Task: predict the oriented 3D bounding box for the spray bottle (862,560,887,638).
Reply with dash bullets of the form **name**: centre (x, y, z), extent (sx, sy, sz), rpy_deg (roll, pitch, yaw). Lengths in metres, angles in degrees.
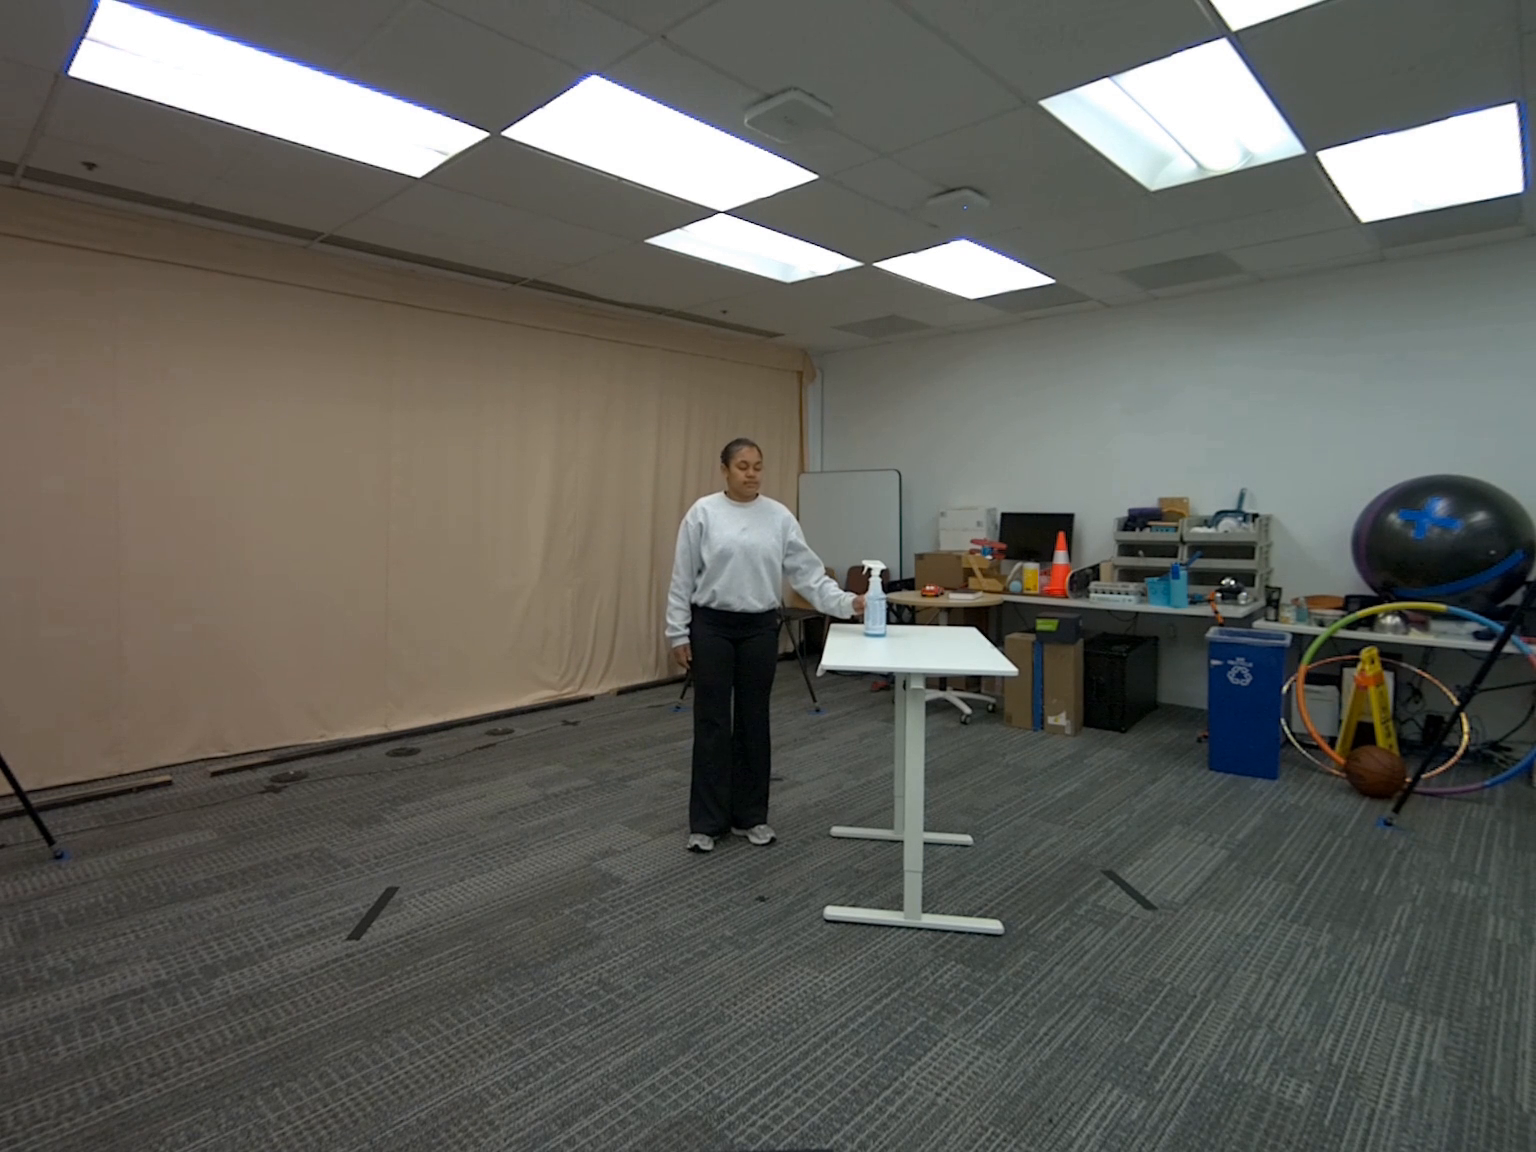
- **spray bottle**: centre (0.409, 0.083, 3.292), extent (0.092, 0.296, 0.085), rpy_deg (1, 4, 29)
